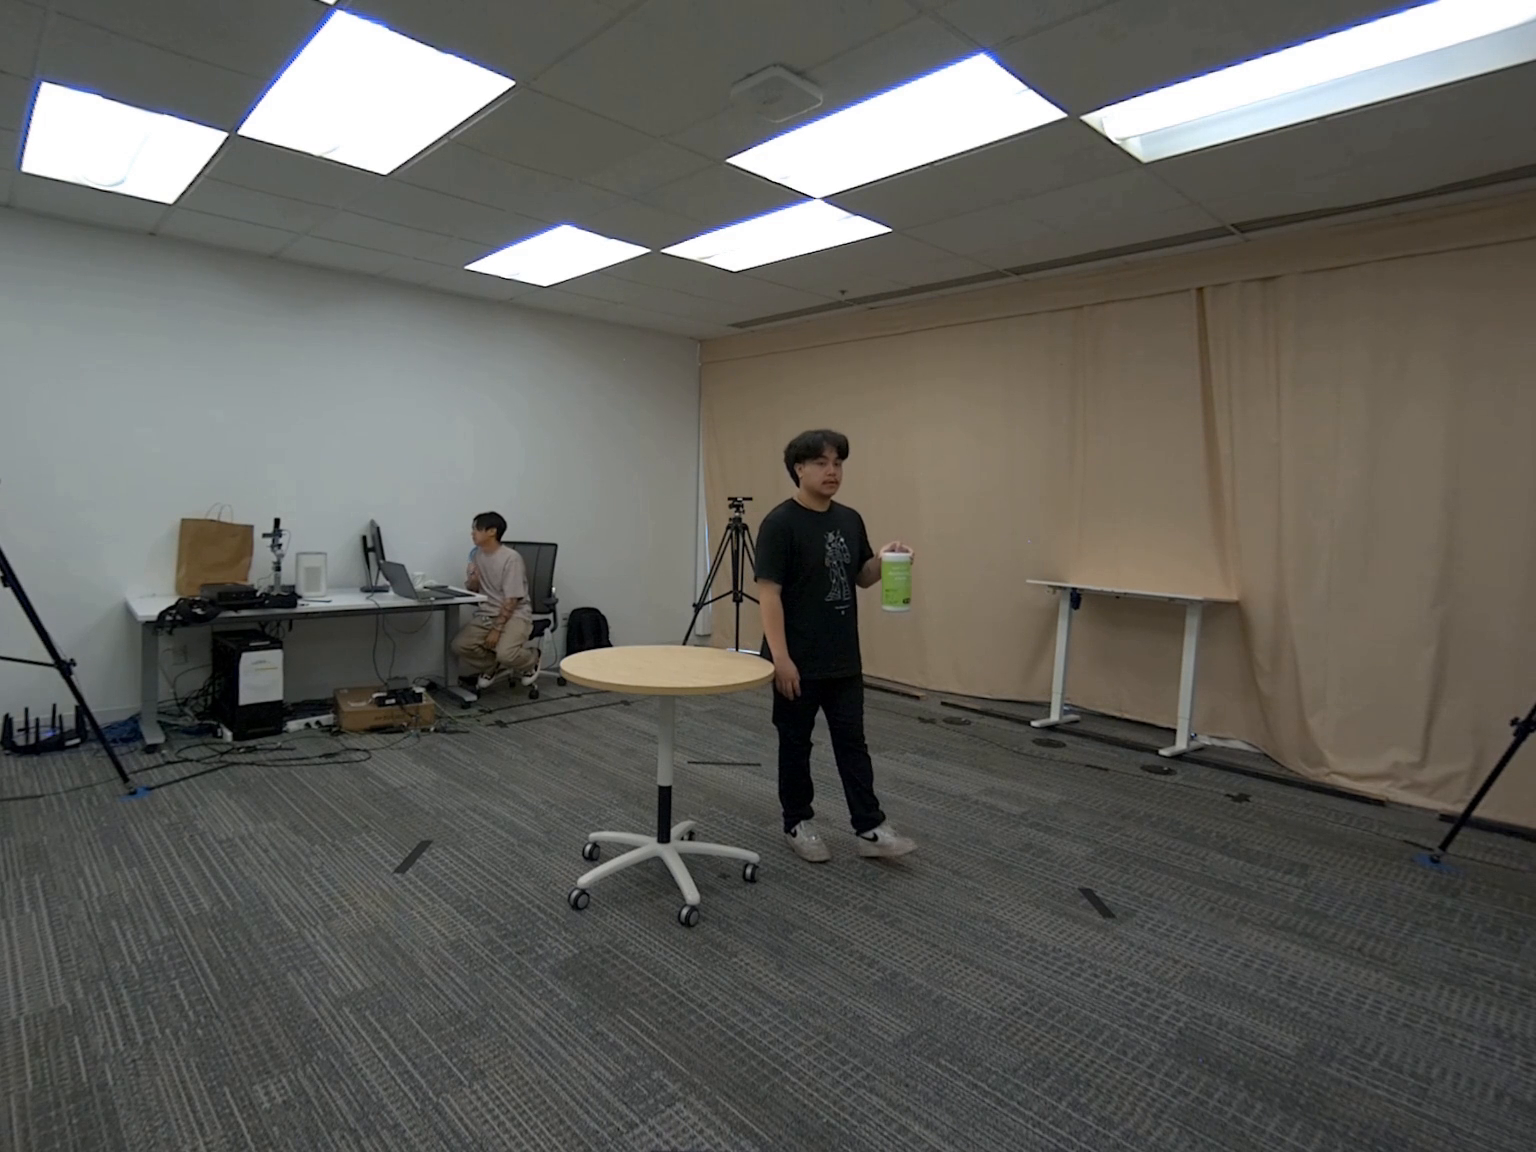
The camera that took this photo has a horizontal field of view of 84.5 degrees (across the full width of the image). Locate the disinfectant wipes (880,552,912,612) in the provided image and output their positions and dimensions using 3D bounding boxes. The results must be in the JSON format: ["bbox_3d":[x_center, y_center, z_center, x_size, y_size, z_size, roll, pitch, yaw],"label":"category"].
[{"bbox_3d":[0.459,0.020,3.139,0.118,0.216,0.118,0,7,-1],"label":"disinfectant wipes"}]
